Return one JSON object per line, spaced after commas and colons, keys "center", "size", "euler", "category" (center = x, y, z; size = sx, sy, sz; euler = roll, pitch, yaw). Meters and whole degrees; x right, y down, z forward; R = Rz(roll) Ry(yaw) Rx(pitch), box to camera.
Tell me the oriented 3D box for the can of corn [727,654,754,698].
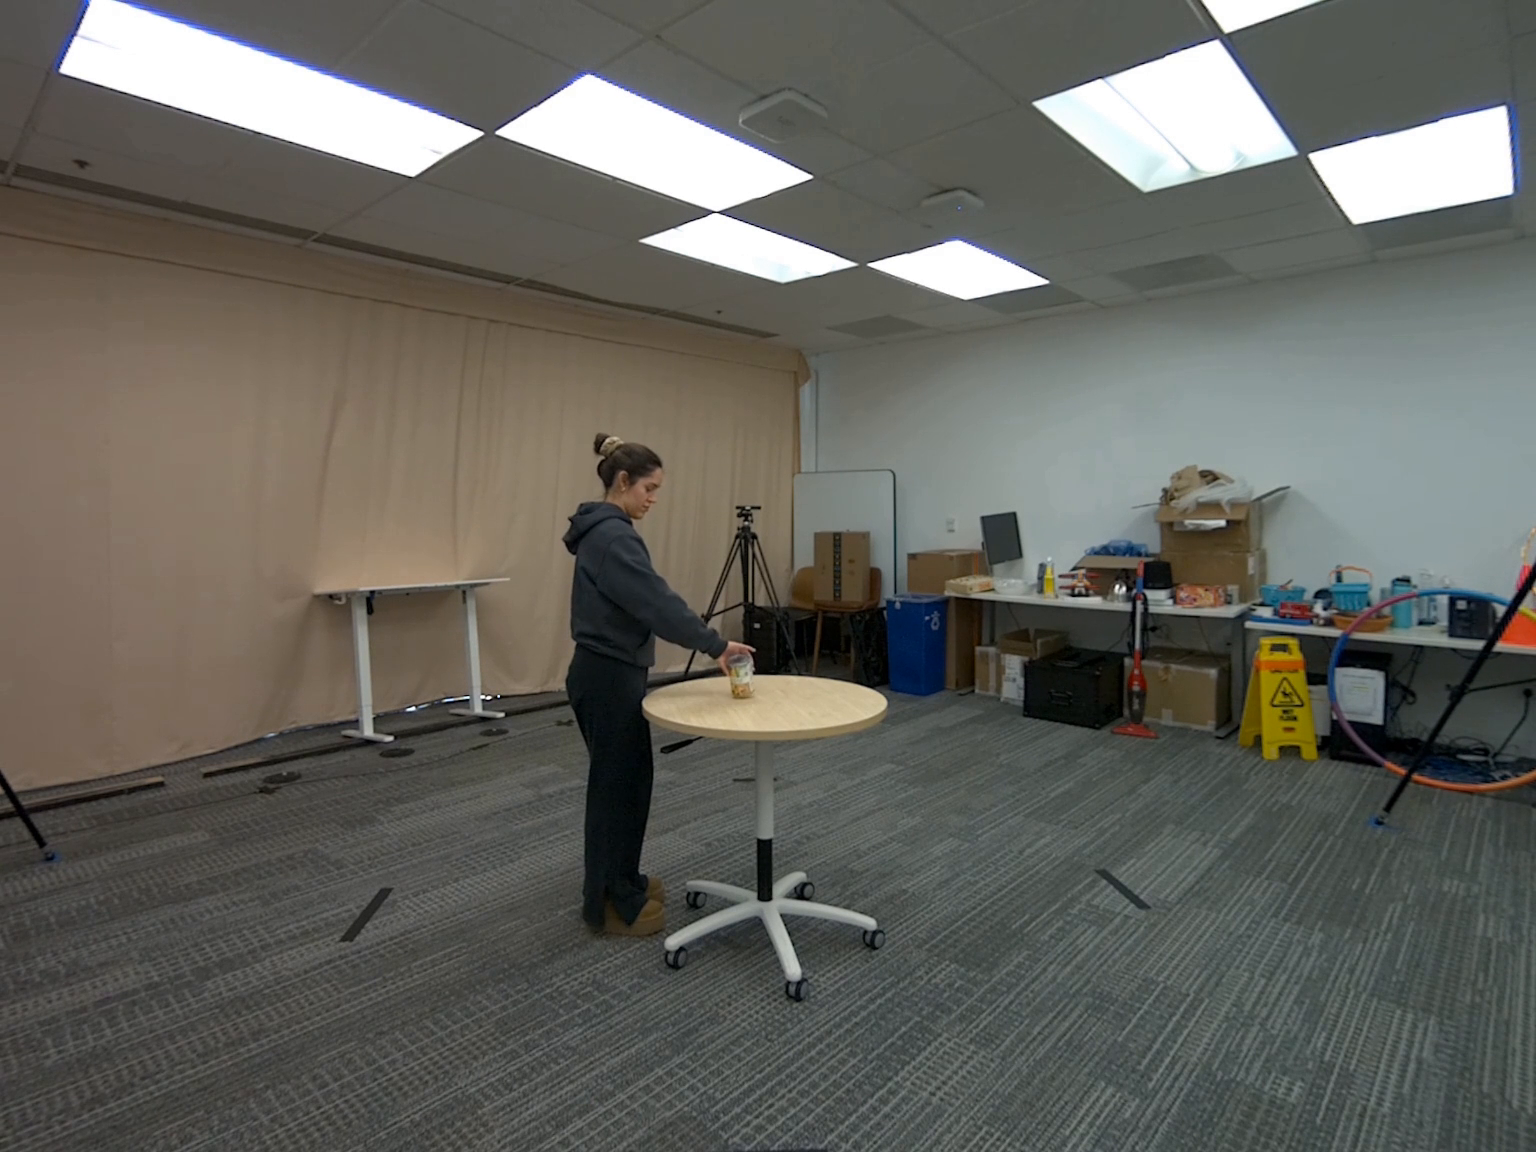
{"center": [-0.082, 0.325, 2.654], "size": [0.074, 0.110, 0.075], "euler": [-5, 15, 0], "category": "can of corn"}
